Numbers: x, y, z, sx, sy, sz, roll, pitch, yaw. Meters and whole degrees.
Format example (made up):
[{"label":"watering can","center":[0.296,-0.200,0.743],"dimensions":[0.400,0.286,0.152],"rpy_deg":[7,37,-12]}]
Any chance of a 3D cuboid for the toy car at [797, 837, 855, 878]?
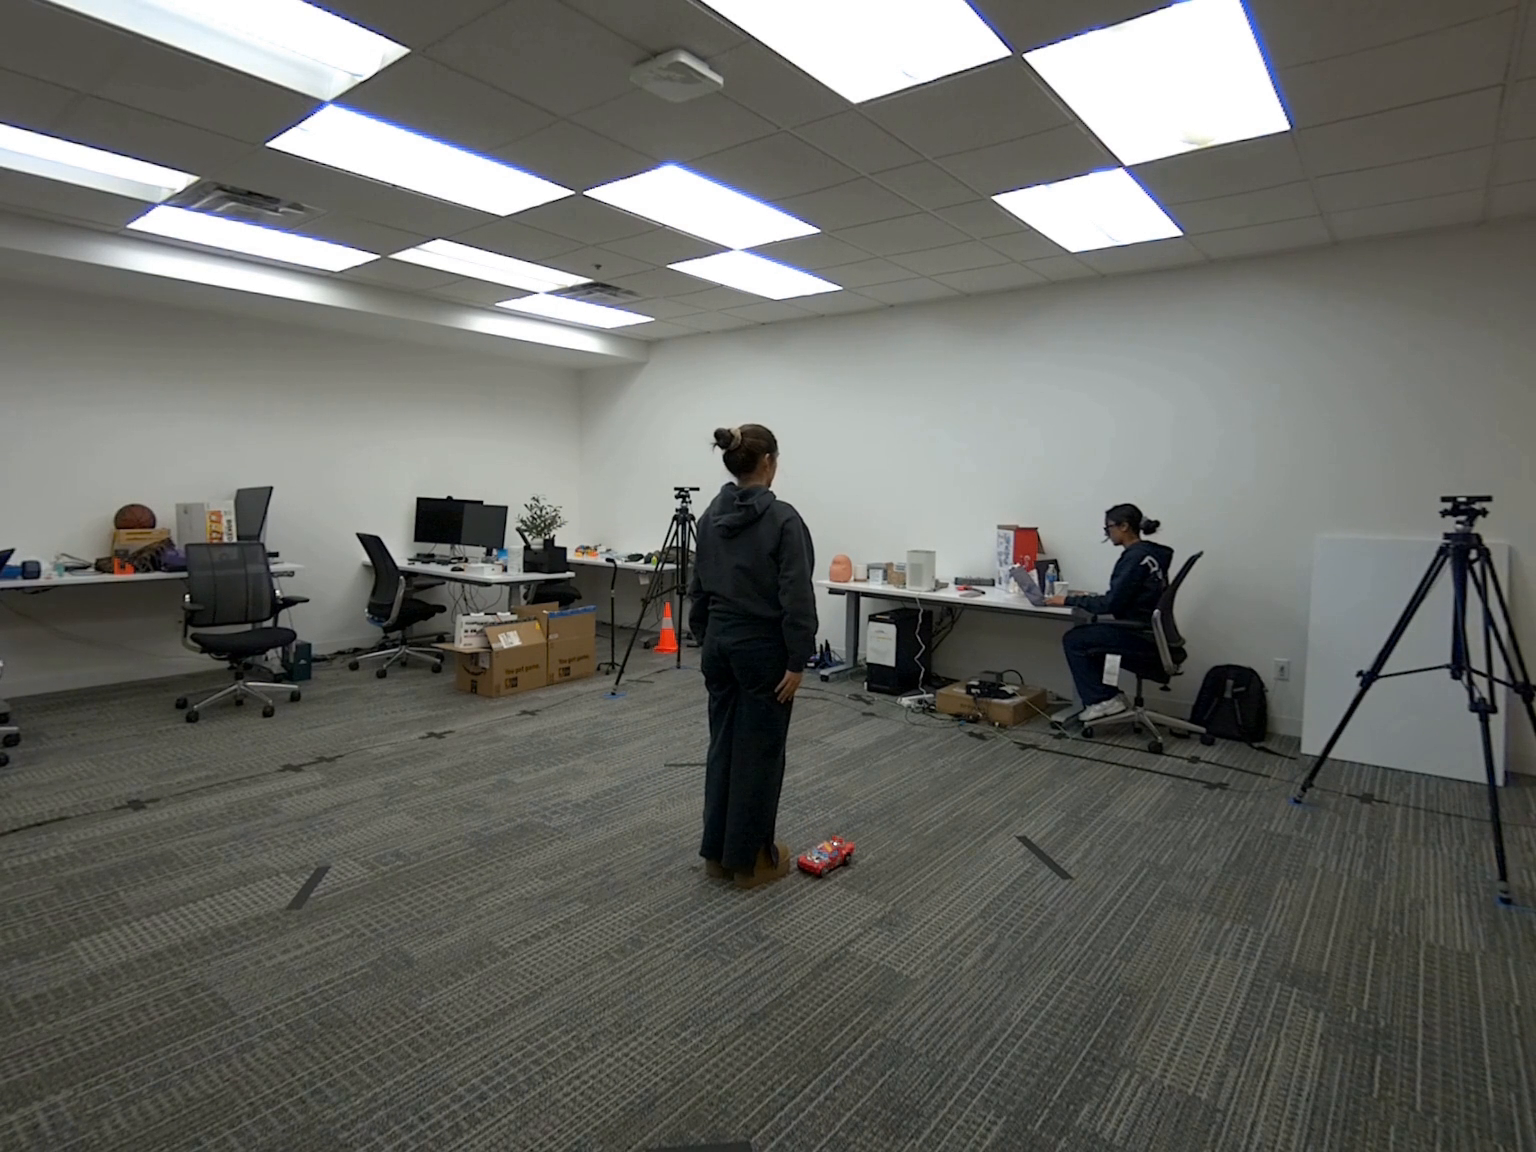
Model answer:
[{"label":"toy car","center":[0.228,1.040,3.159],"dimensions":[0.135,0.082,0.249],"rpy_deg":[6,19,41]}]
